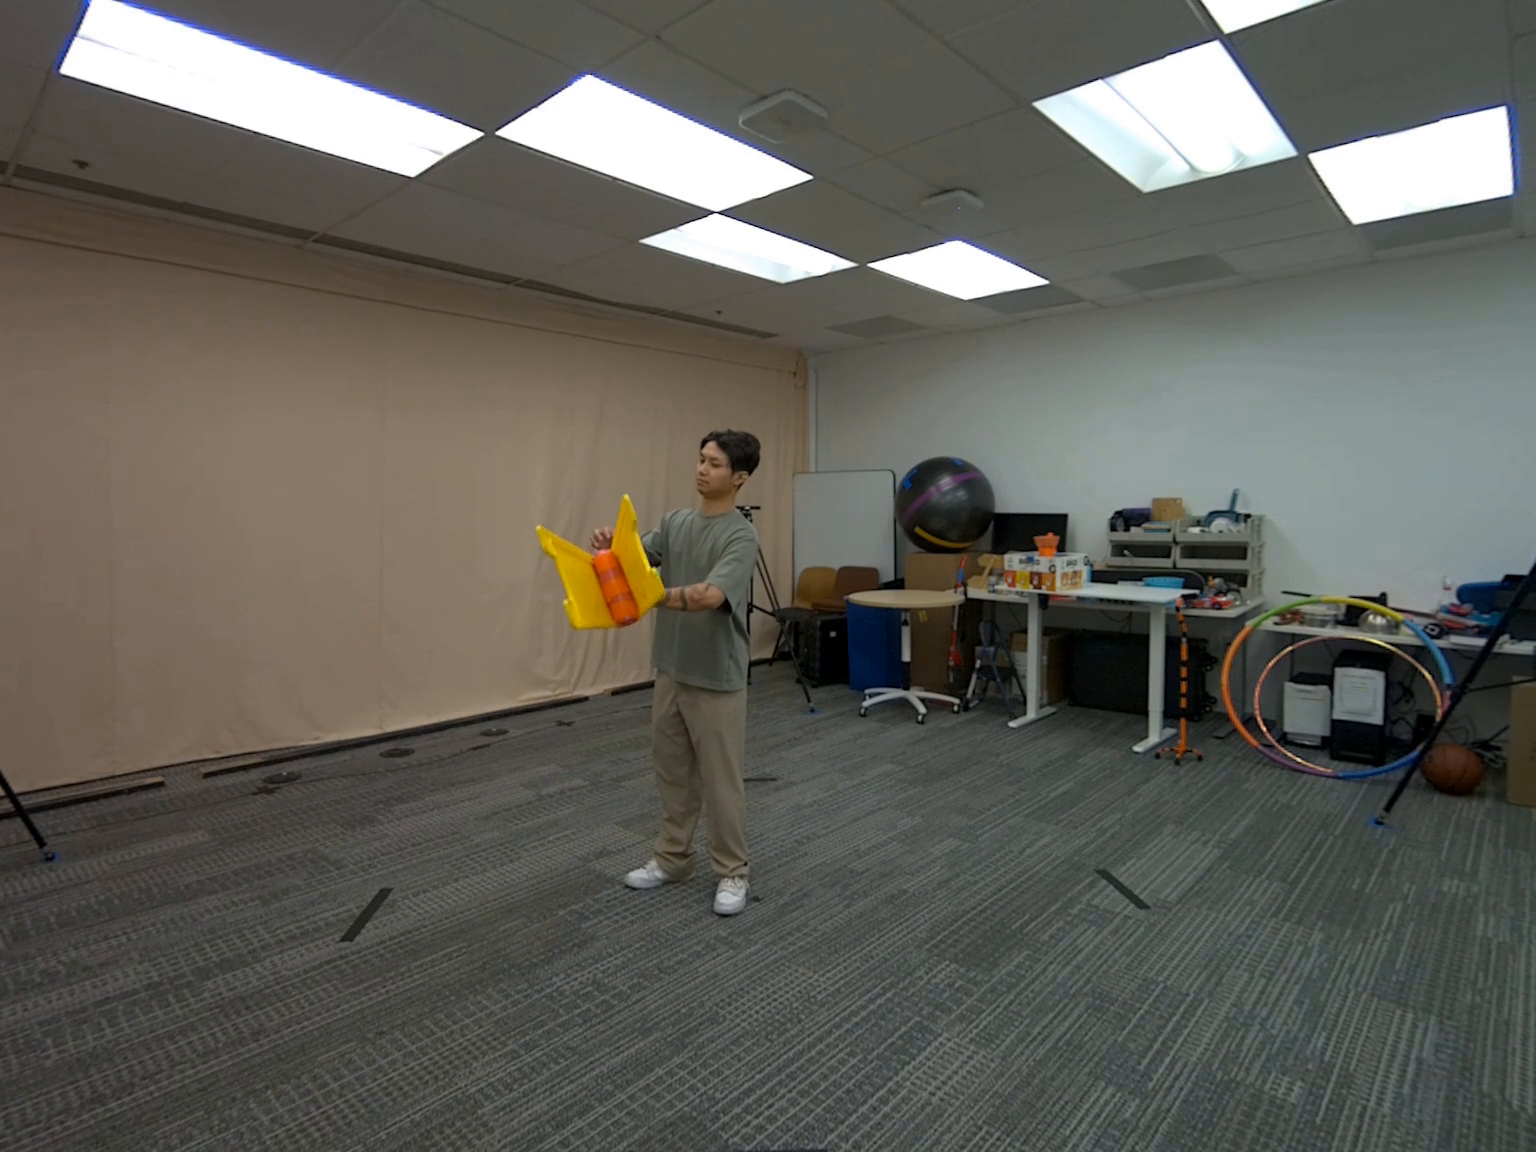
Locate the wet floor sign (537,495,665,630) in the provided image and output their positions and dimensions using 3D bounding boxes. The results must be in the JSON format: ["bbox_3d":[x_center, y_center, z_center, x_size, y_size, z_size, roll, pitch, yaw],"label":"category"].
[{"bbox_3d":[-0.458,0.020,2.434,0.288,0.284,0.644,-21,-6,-8],"label":"wet floor sign"}]
